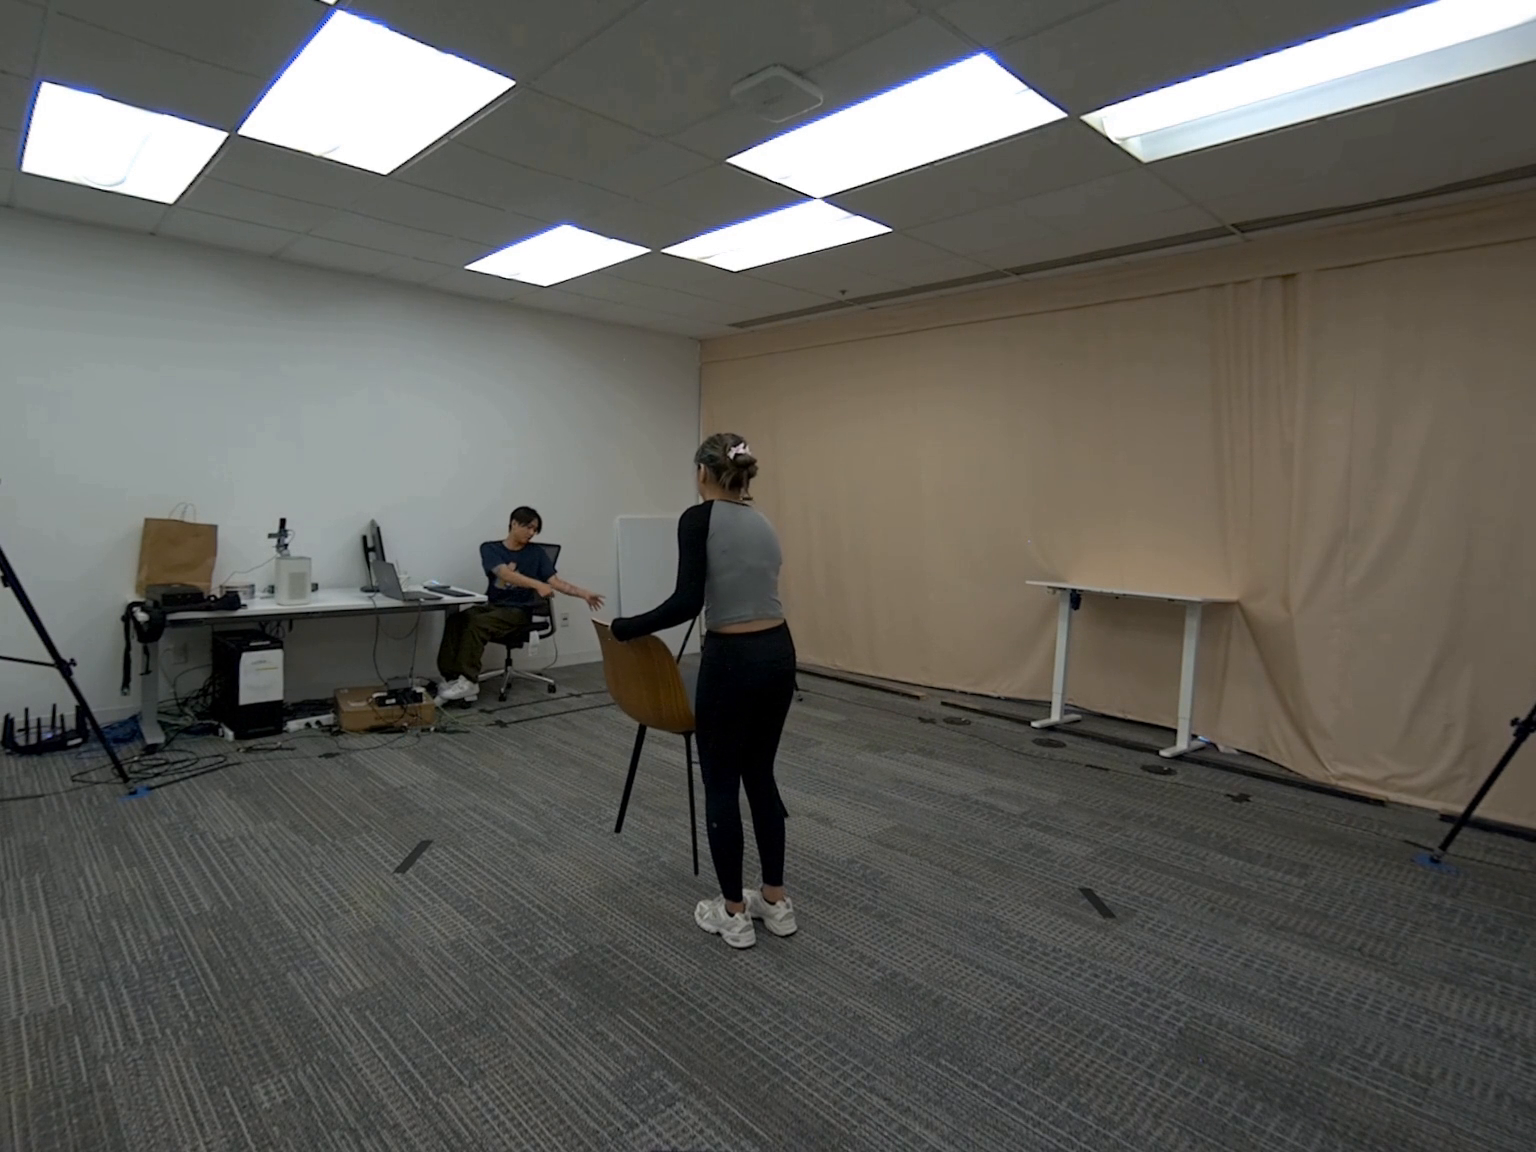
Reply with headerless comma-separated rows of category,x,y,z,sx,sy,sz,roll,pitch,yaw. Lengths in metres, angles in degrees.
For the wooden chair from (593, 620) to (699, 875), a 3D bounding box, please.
wooden chair,-0.289,0.498,2.982,0.491,0.866,0.516,8,22,44
